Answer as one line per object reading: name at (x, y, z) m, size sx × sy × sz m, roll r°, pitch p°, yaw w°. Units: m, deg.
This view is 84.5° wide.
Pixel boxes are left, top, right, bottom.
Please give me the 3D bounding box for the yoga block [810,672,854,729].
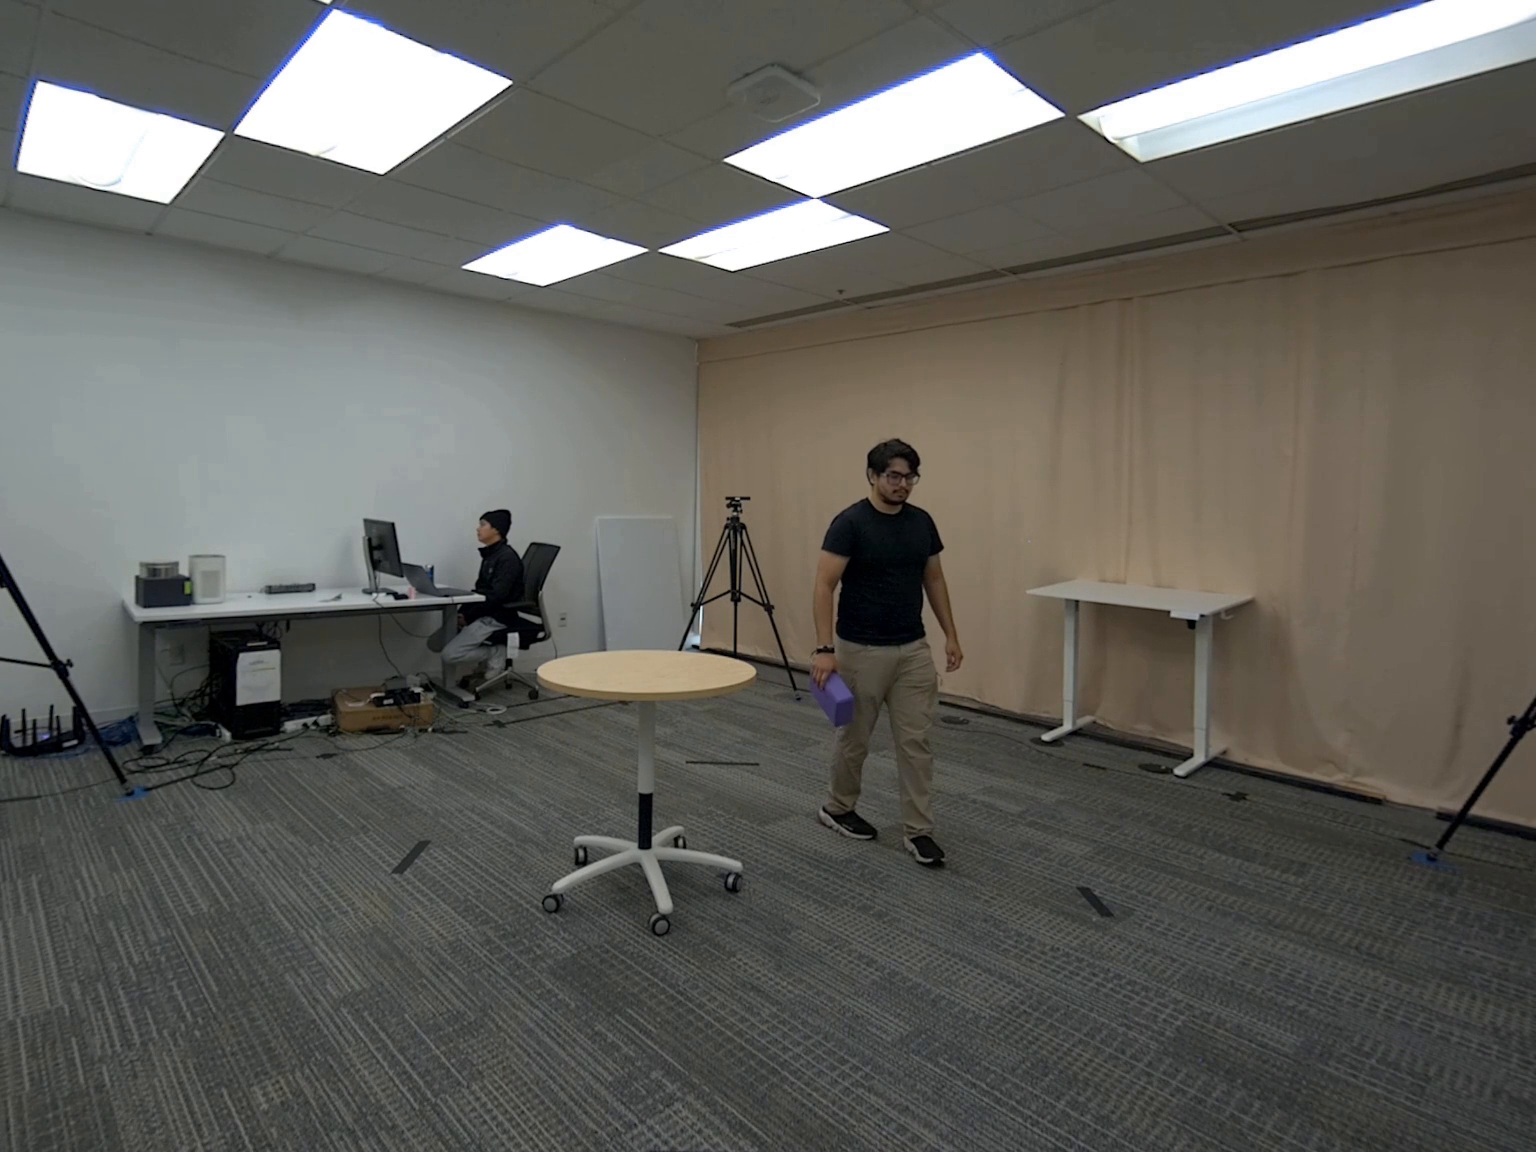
yoga block at (0.243, 0.450, 3.269) m, size 0.076 × 0.146 × 0.236 m, roll -14°, pitch 41°, yaw -17°
